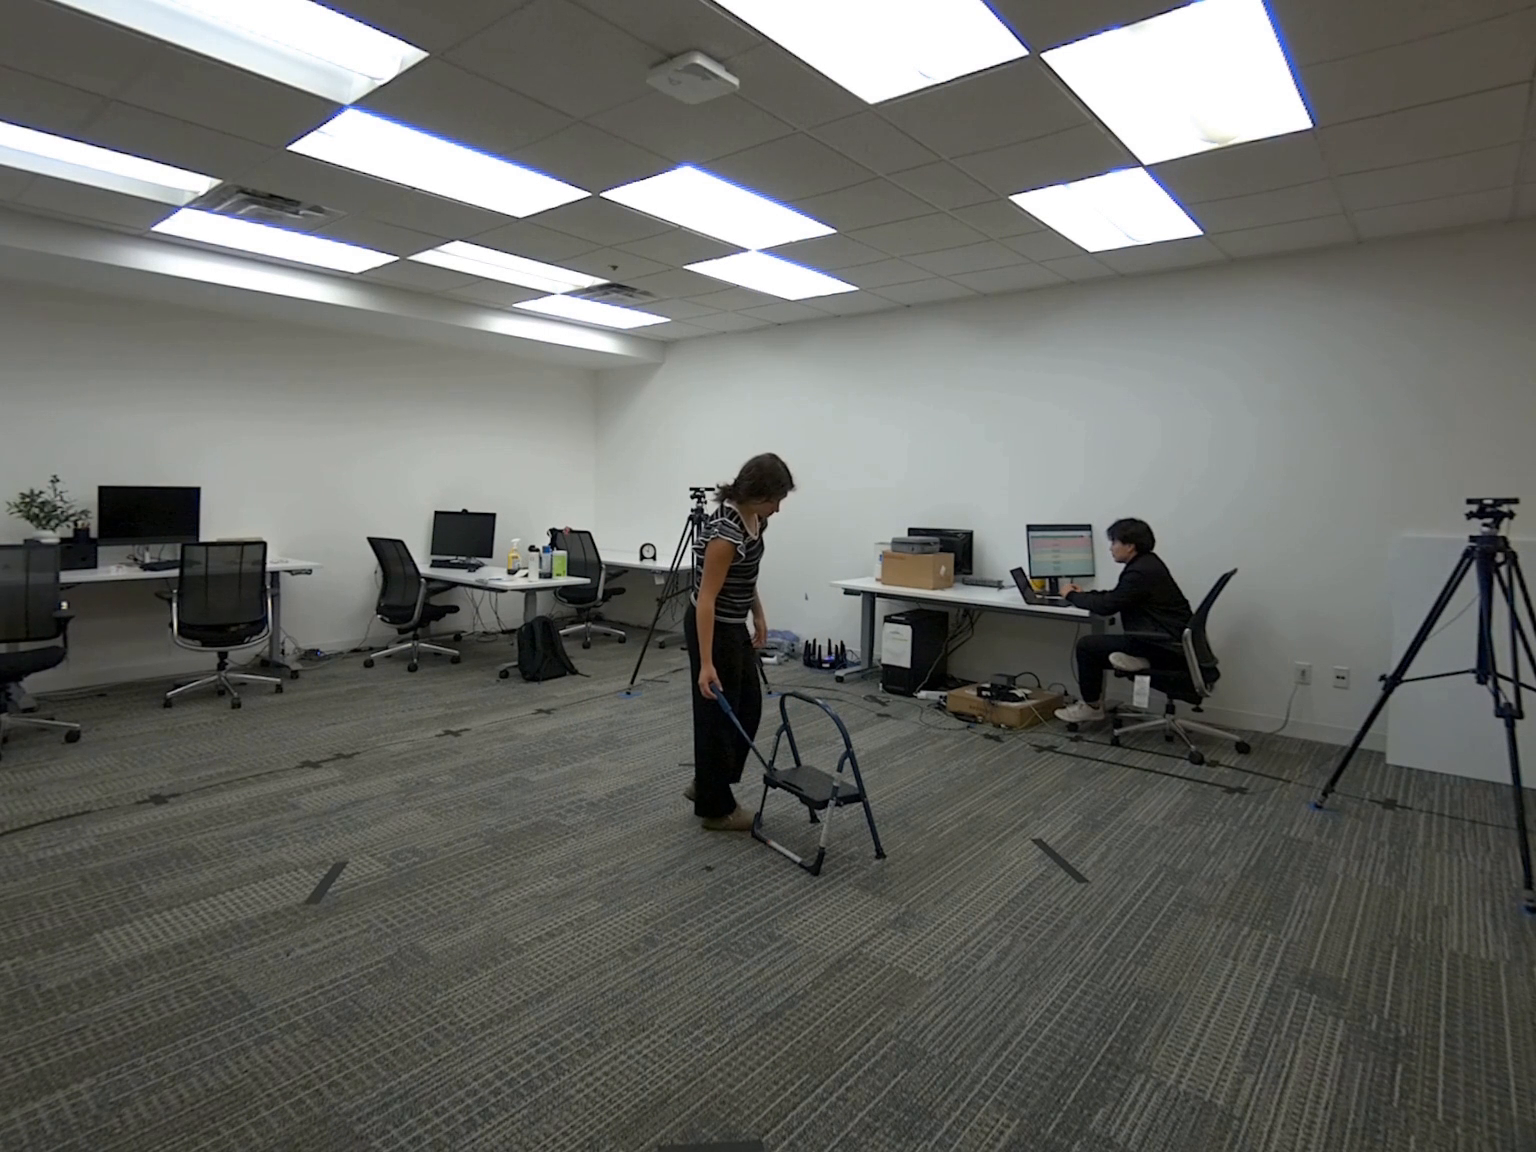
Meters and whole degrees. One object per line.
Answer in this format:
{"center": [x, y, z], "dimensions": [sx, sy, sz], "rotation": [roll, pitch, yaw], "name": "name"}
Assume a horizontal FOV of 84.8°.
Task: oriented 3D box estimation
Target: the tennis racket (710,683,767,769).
{"center": [-0.109, 0.585, 3.208], "dimensions": [0.031, 0.428, 0.217], "rotation": [-32, 9, -12], "name": "tennis racket"}
